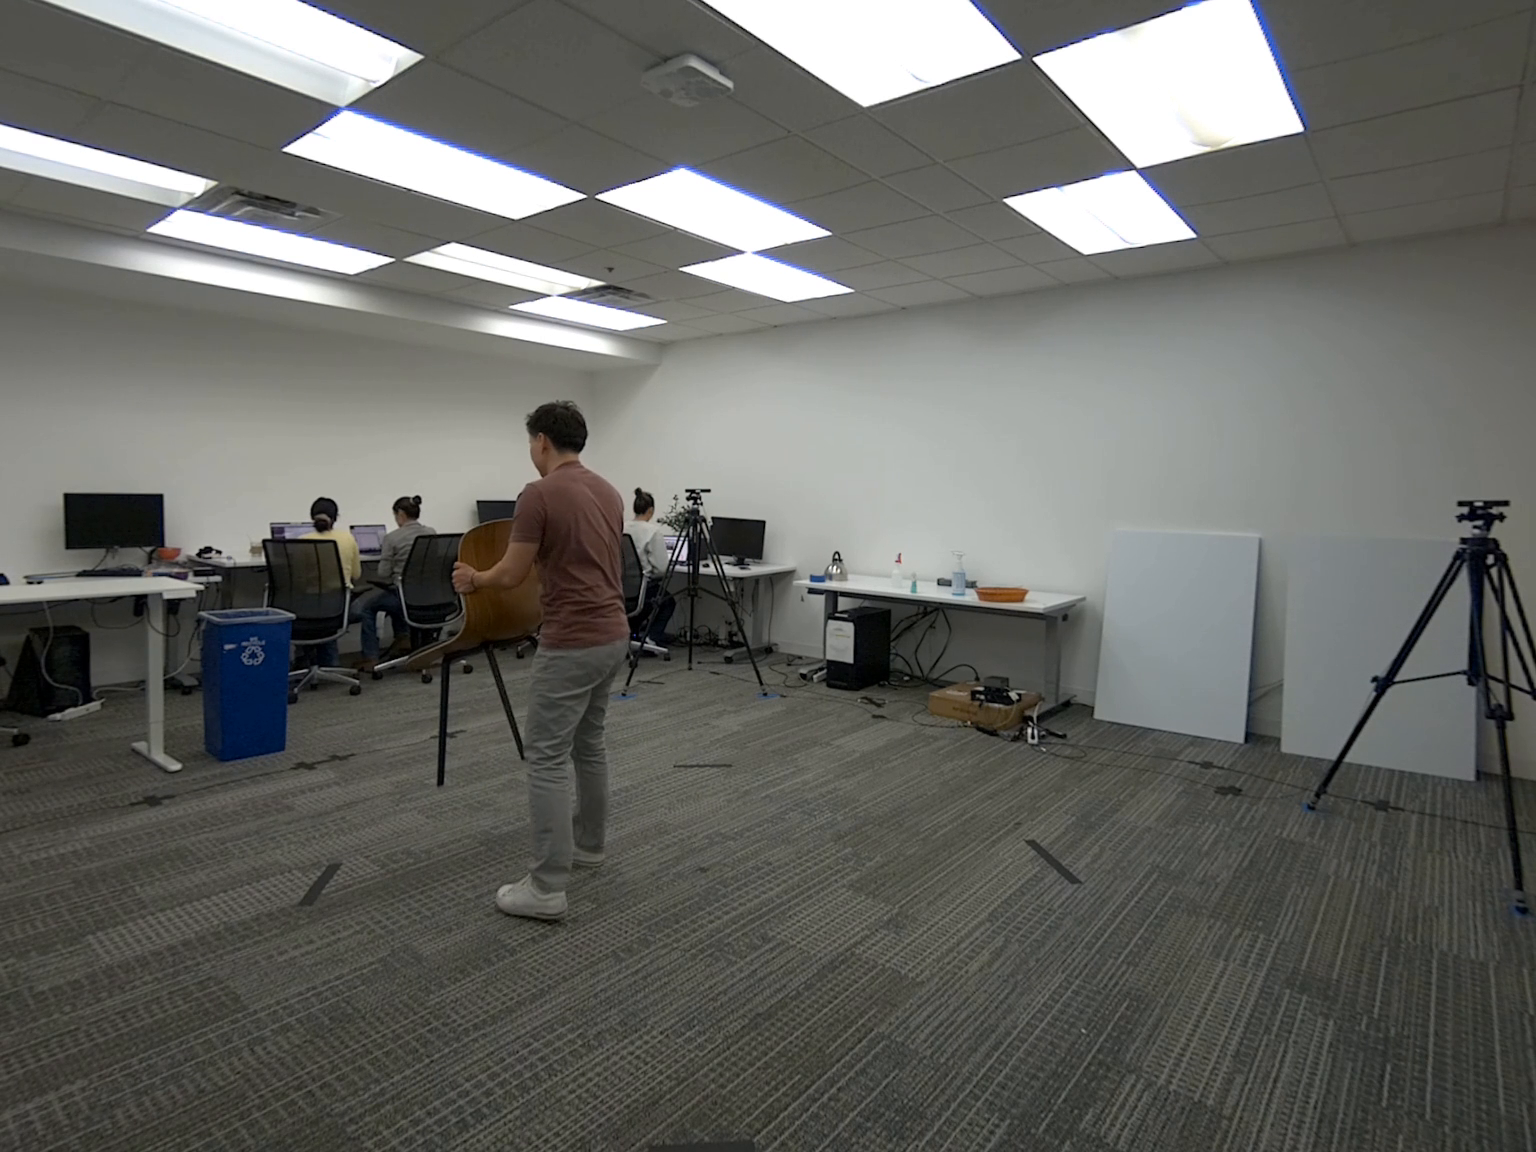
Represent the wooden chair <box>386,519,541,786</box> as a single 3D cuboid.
[{"bbox_3d":[-1.072,0.274,3.236,0.533,0.882,0.467,-18,-4,29],"label":"wooden chair"}]
